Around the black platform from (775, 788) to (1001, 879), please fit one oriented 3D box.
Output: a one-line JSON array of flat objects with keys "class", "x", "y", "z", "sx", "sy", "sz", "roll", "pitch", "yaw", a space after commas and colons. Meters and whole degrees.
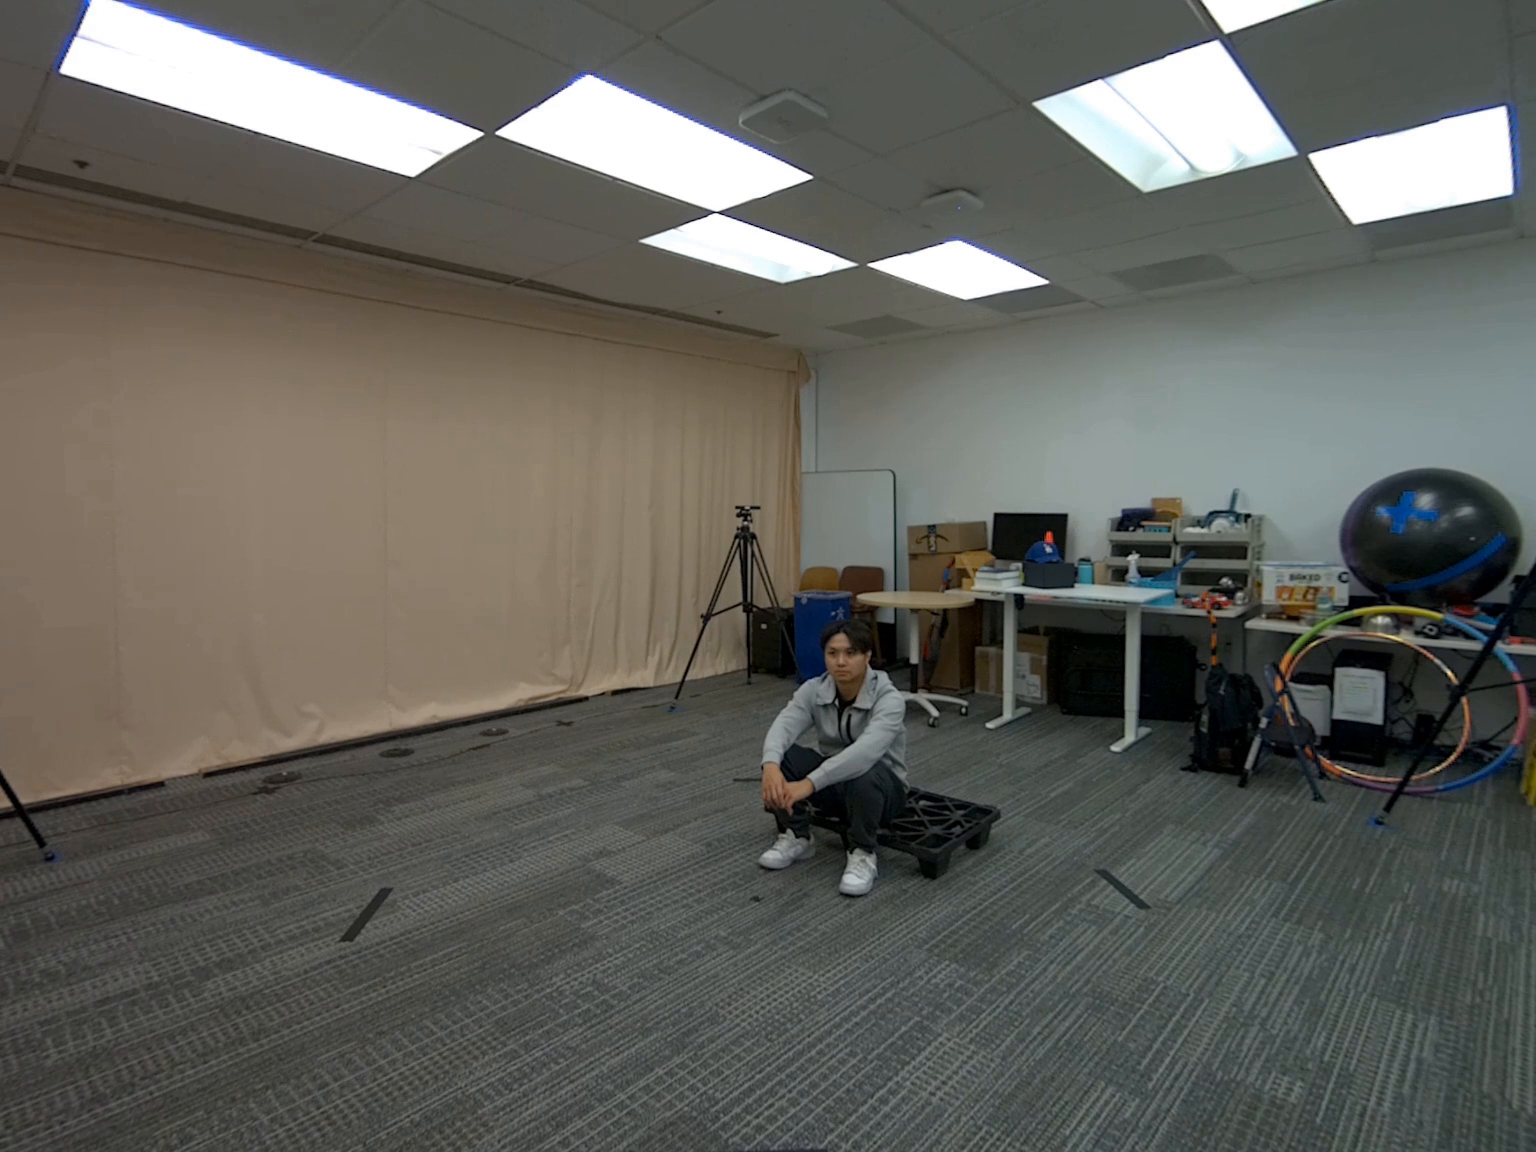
[{"class": "black platform", "x": 0.476, "y": 1.030, "z": 3.533, "sx": 0.832, "sy": 0.143, "sz": 0.587, "roll": 4, "pitch": 6, "yaw": 39}]
